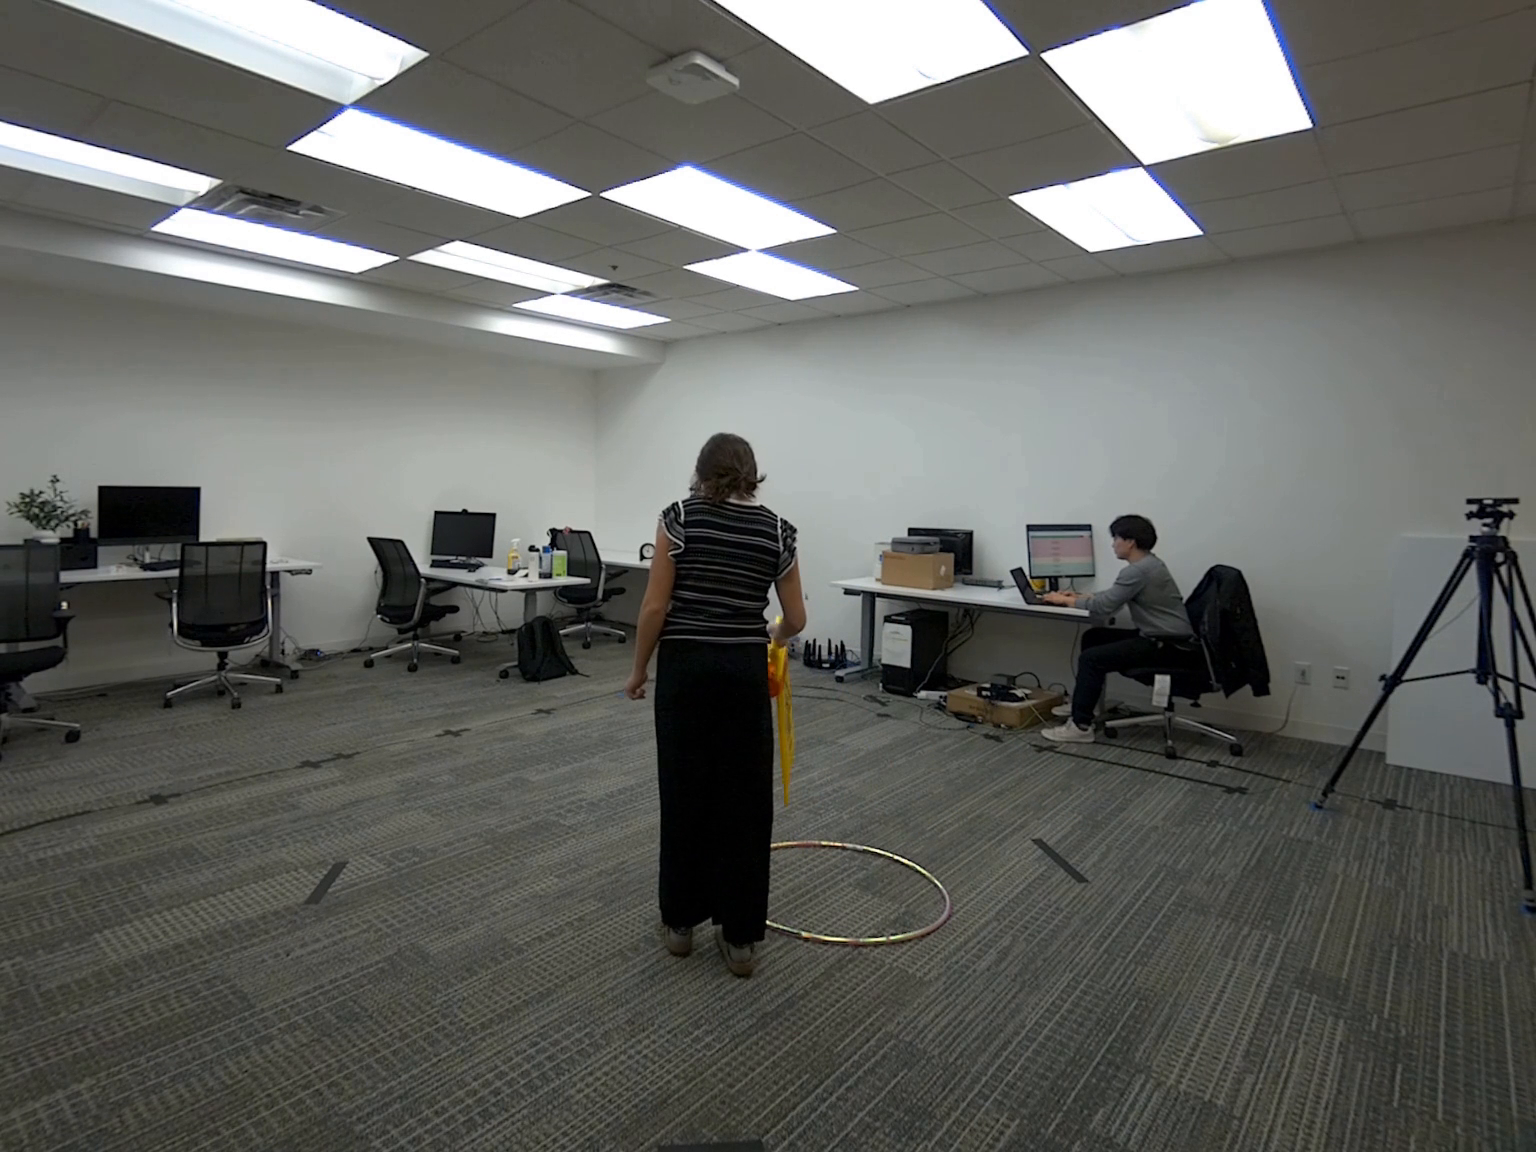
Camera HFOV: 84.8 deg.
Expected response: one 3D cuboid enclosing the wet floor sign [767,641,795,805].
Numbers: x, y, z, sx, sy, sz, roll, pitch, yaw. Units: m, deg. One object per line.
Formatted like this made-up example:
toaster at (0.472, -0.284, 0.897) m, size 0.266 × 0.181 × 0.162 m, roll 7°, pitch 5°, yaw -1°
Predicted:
wet floor sign at (-0.011, 0.460, 2.979) m, size 0.291 × 0.632 × 0.287 m, roll 7°, pitch 29°, yaw 3°
